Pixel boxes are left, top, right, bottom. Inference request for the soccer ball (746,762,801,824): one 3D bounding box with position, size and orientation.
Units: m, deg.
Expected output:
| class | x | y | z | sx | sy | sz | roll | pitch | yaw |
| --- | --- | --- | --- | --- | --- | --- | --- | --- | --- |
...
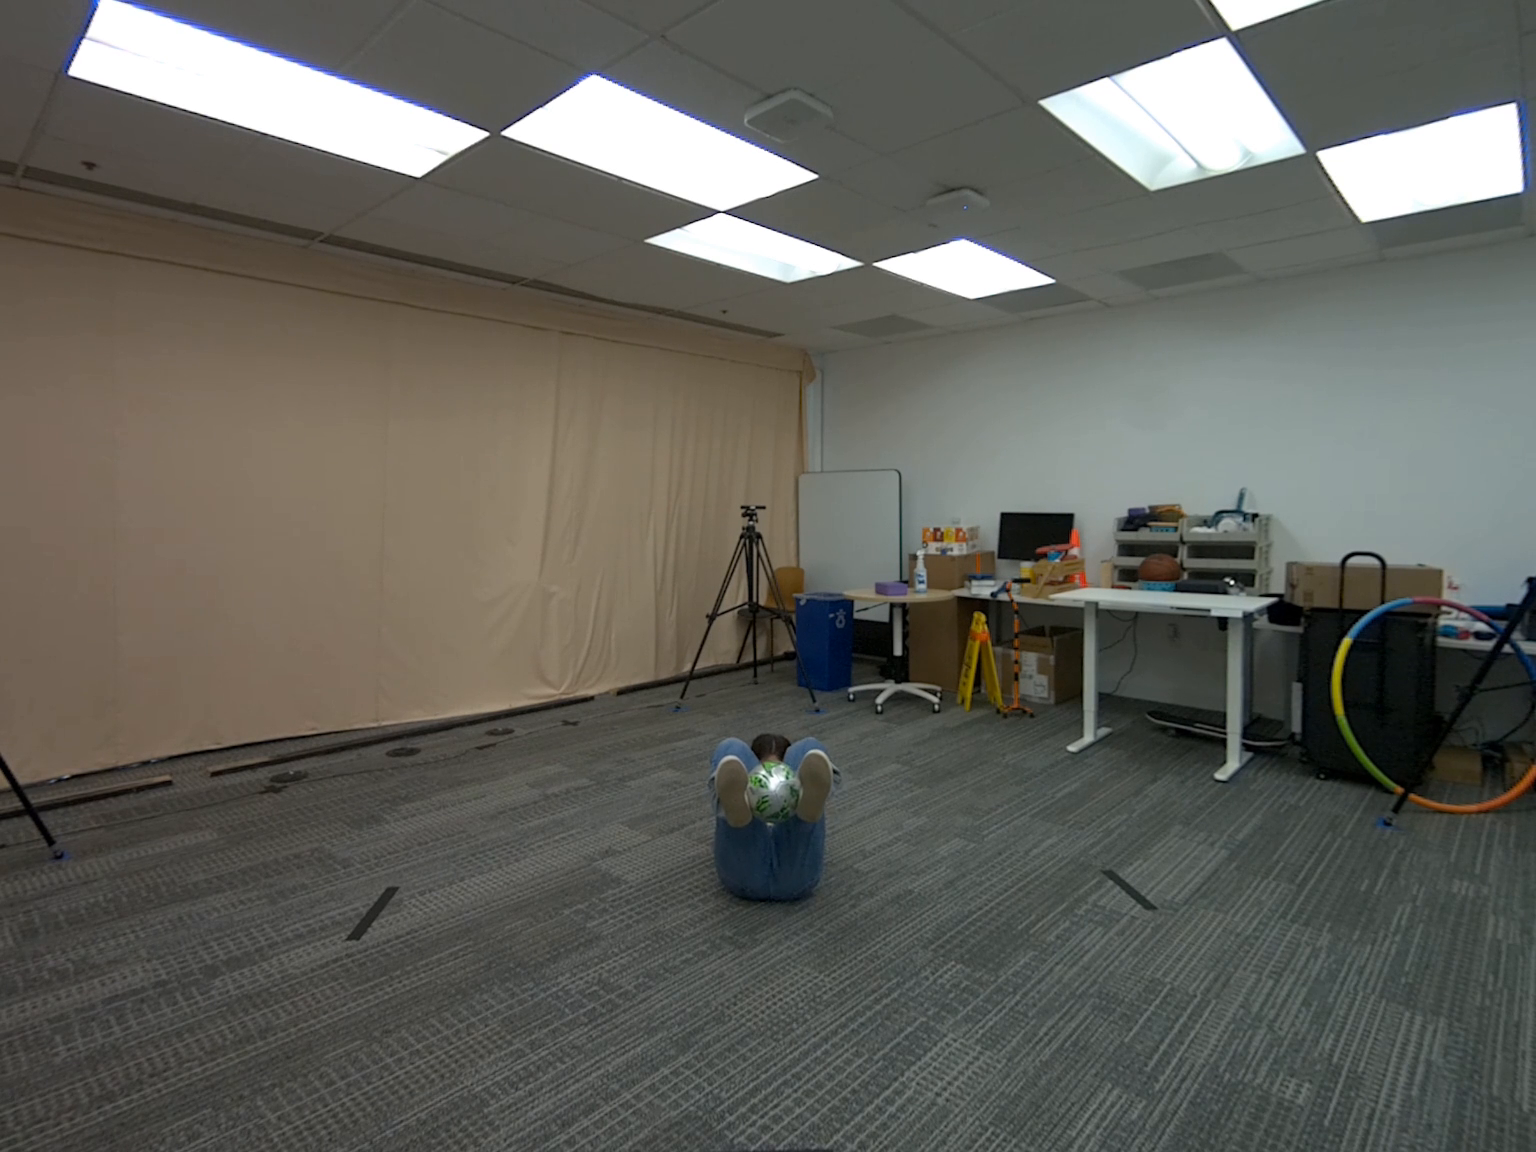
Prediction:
| class | x | y | z | sx | sy | sz | roll | pitch | yaw |
| --- | --- | --- | --- | --- | --- | --- | --- | --- | --- |
| soccer ball | 0.026 | 0.678 | 2.614 | 0.187 | 0.187 | 0.188 | 3 | 4 | -2 |
